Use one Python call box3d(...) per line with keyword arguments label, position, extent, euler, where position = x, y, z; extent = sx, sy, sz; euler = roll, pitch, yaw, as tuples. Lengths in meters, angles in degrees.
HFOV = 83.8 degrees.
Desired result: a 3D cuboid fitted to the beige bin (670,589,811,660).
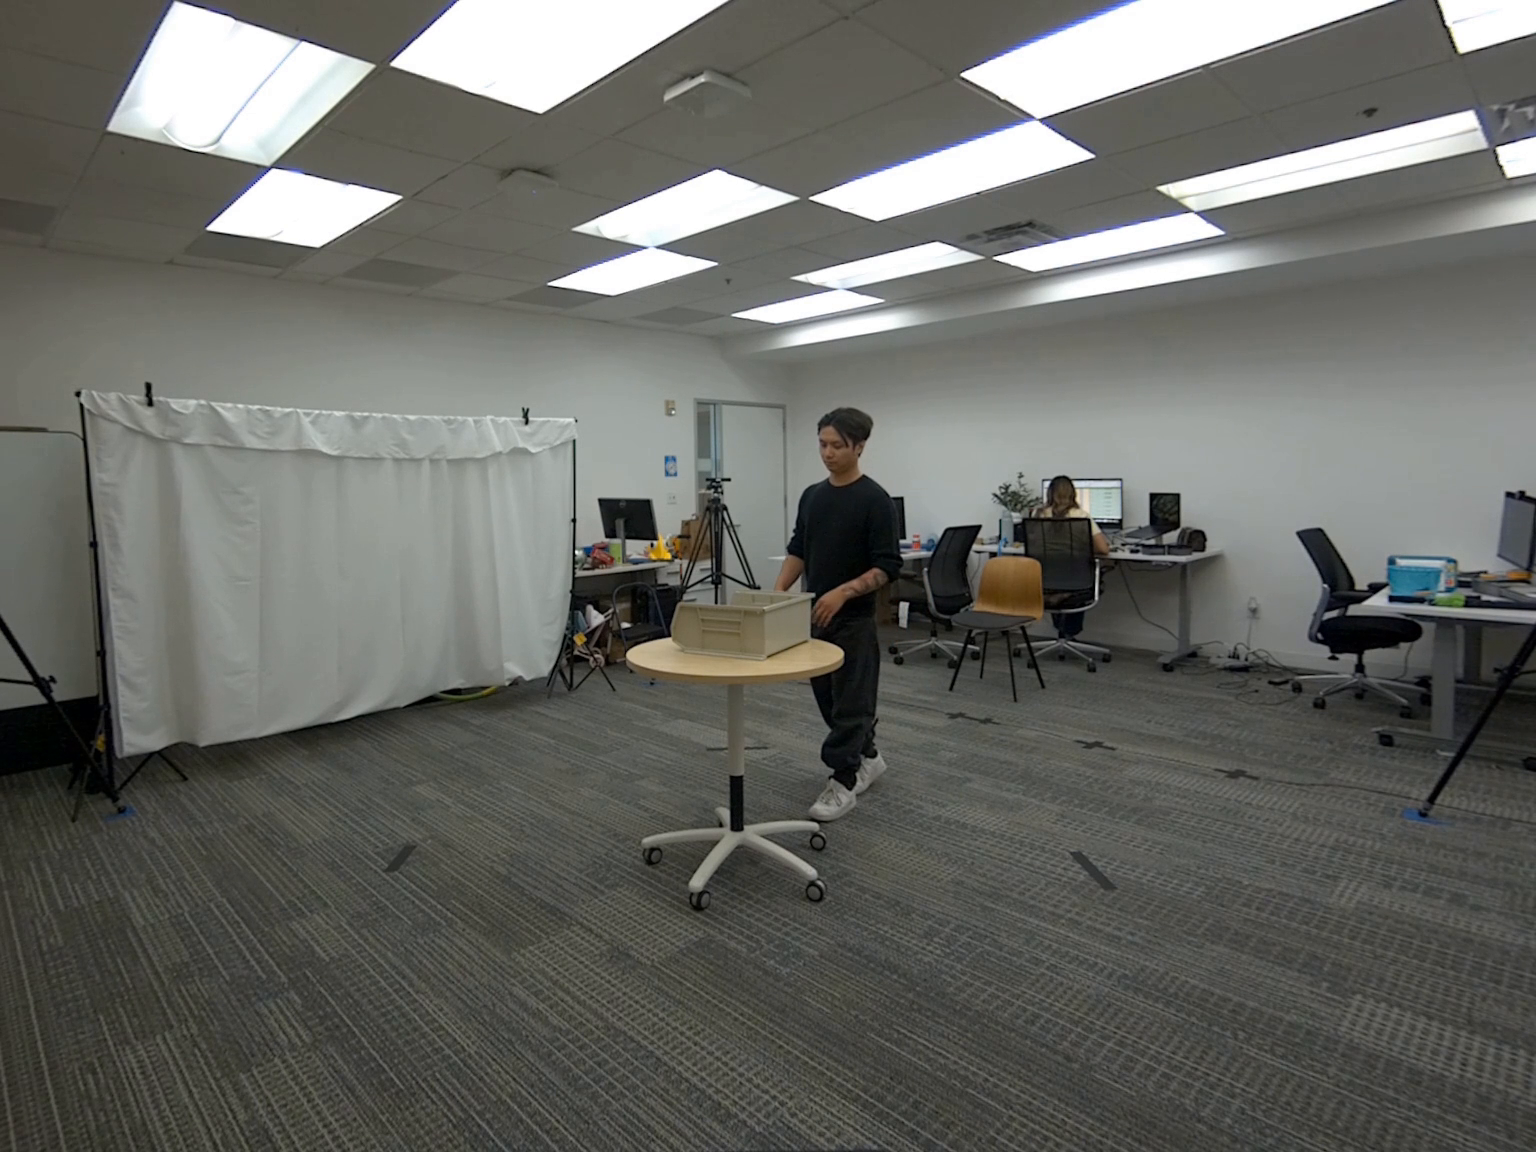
box3d(label="beige bin", position=(-0.080, 0.168, 3.118), extent=(0.387, 0.188, 0.413), euler=(4, 7, 27))
